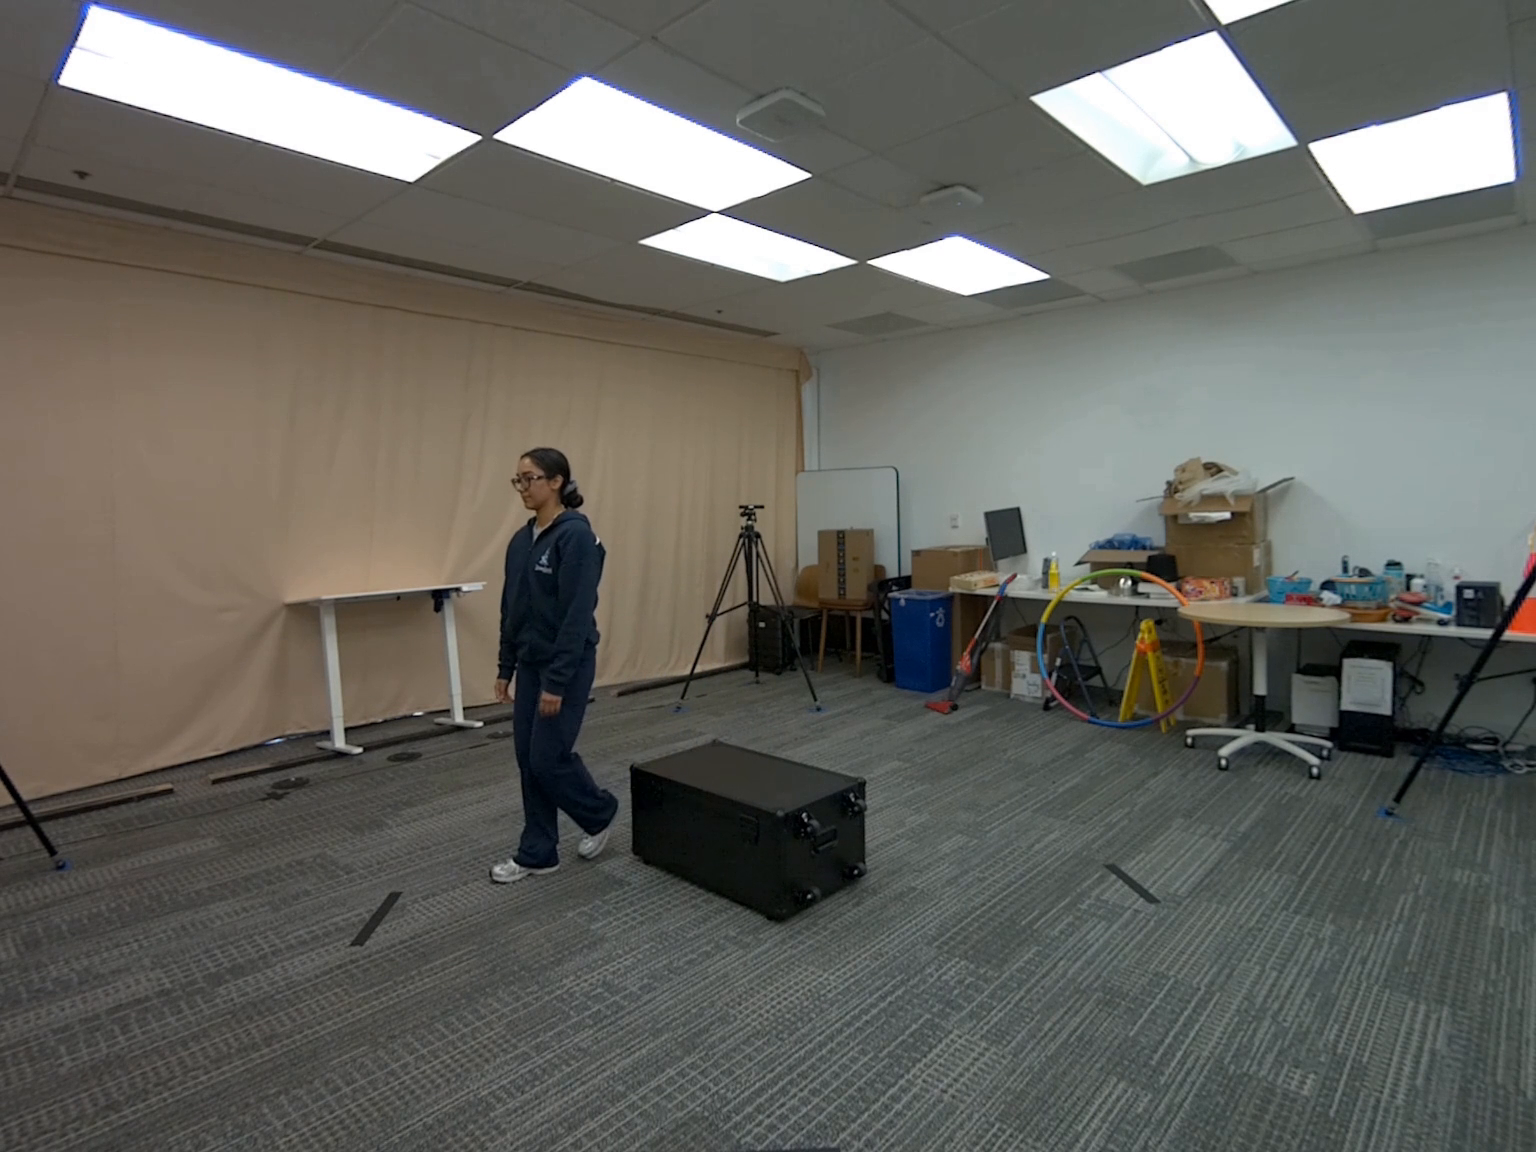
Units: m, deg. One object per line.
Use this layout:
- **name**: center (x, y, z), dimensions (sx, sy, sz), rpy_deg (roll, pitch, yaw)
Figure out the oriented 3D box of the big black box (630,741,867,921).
- **big black box**: center (-0.065, 0.935, 3.188), dimensions (0.890, 0.395, 0.506), rpy_deg (2, 6, 43)
